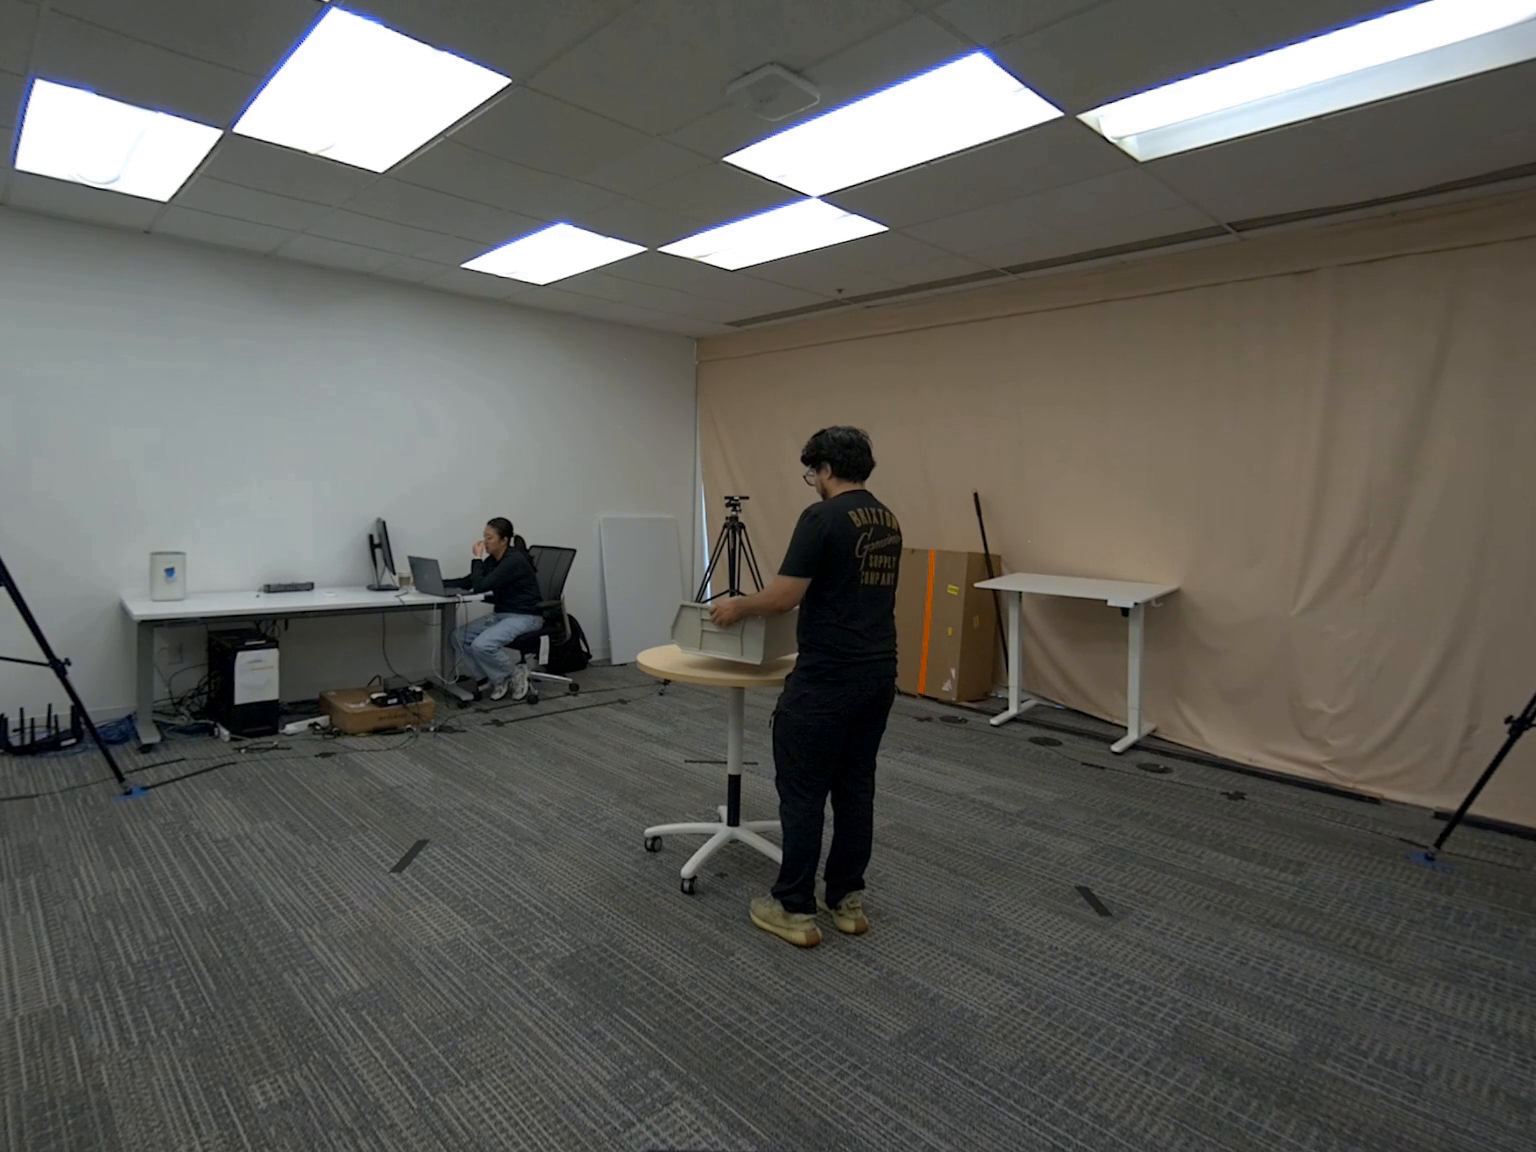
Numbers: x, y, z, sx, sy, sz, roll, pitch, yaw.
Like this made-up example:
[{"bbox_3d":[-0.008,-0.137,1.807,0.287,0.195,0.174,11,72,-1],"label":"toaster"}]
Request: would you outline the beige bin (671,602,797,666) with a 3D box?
[{"bbox_3d":[-0.091,0.188,3.073,0.385,0.188,0.414,7,4,26],"label":"beige bin"}]
